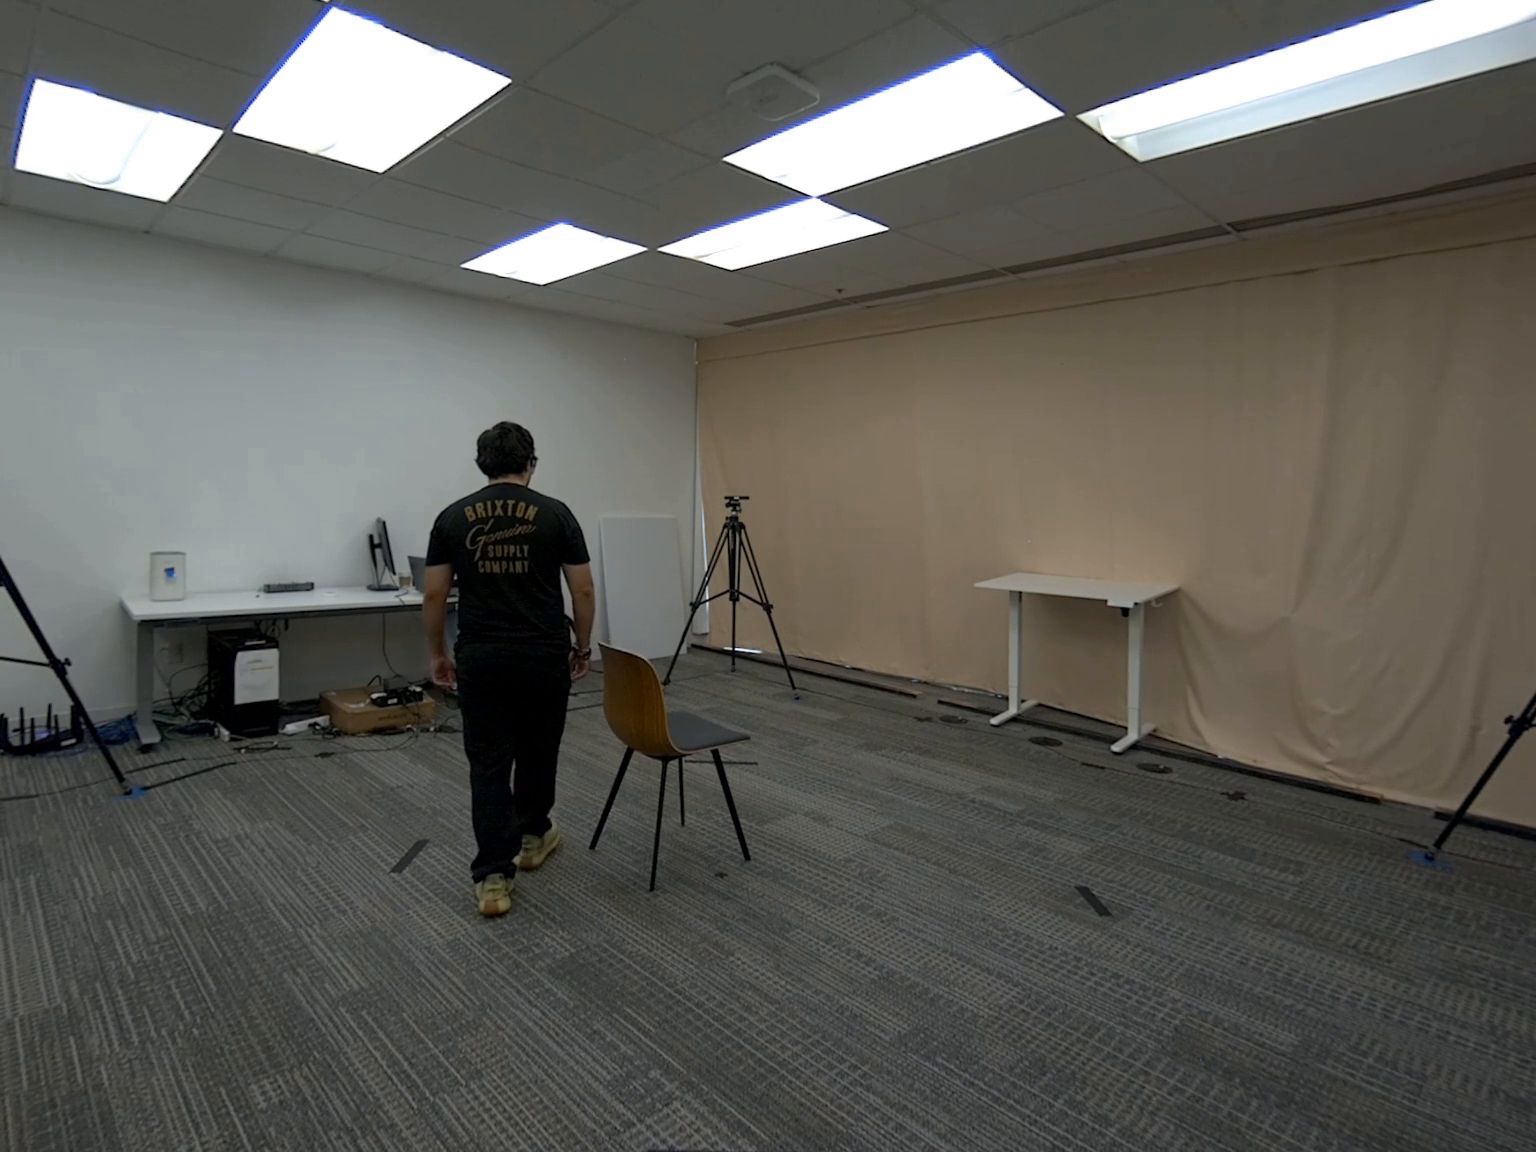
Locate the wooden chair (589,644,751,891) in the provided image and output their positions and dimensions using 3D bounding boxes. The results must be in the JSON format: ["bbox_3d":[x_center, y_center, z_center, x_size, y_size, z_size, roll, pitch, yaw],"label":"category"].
[{"bbox_3d":[-0.372,0.658,3.248,0.512,0.873,0.490,-7,8,-39],"label":"wooden chair"}]
